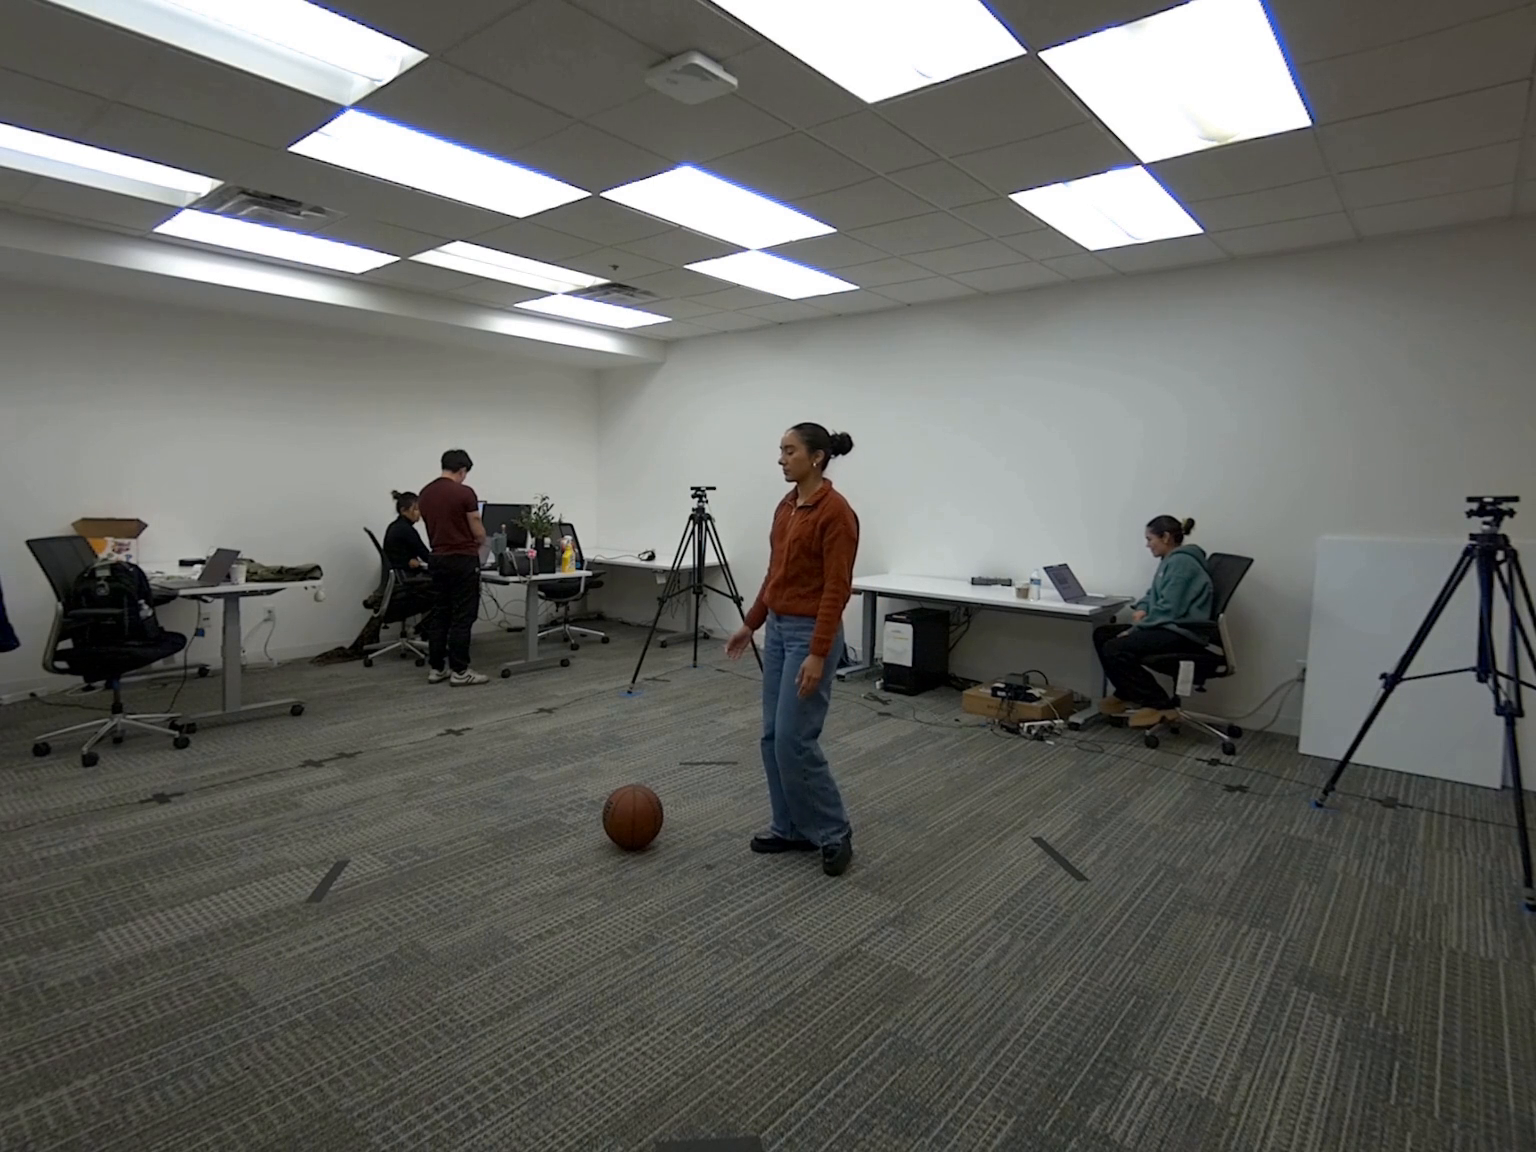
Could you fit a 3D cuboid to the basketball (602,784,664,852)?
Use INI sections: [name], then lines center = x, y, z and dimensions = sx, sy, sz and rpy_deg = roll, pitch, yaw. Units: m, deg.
[basketball]
center = -0.532, 0.921, 3.292
dimensions = 0.236, 0.235, 0.237
rpy_deg = 1, 4, -2
